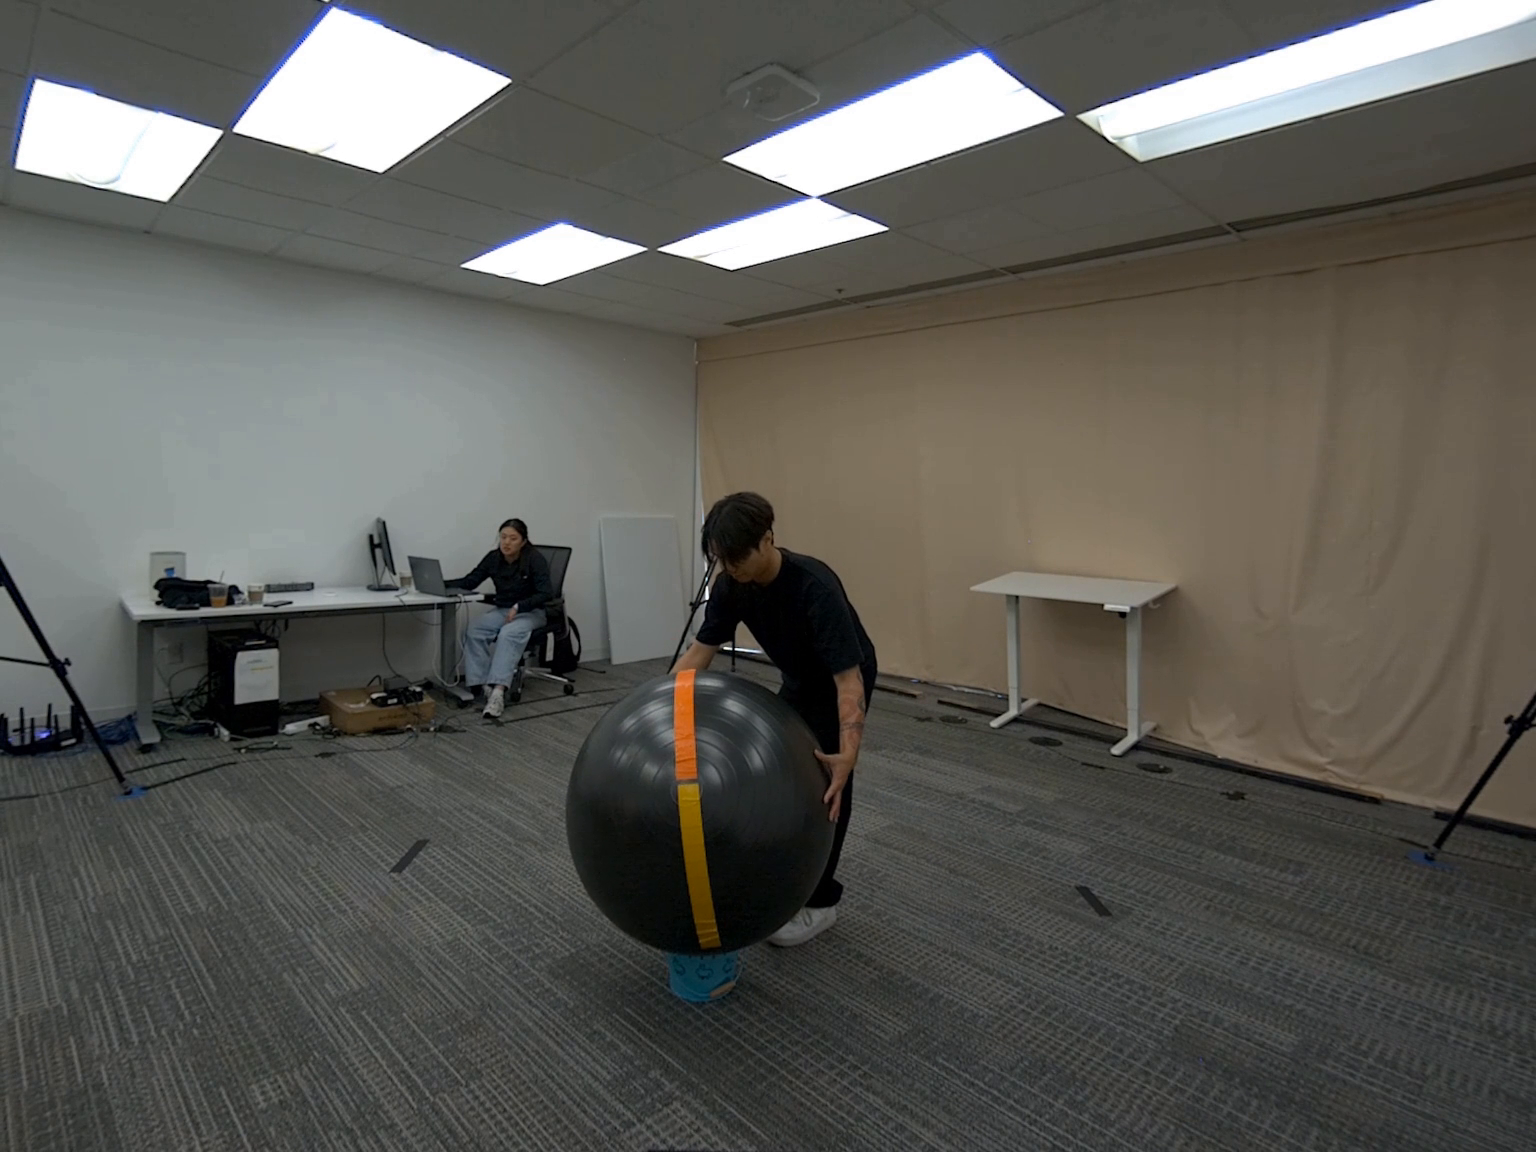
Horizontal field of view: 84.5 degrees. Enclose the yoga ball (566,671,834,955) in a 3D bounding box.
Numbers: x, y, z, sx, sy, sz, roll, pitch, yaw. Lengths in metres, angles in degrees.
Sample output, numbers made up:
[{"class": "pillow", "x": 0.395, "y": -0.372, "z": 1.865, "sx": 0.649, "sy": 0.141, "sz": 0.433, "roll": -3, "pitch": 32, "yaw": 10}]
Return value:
[{"class": "yoga ball", "x": -0.194, "y": 0.662, "z": 2.370, "sx": 0.757, "sy": 0.756, "sz": 0.761, "roll": 1, "pitch": 4, "yaw": -1}]
